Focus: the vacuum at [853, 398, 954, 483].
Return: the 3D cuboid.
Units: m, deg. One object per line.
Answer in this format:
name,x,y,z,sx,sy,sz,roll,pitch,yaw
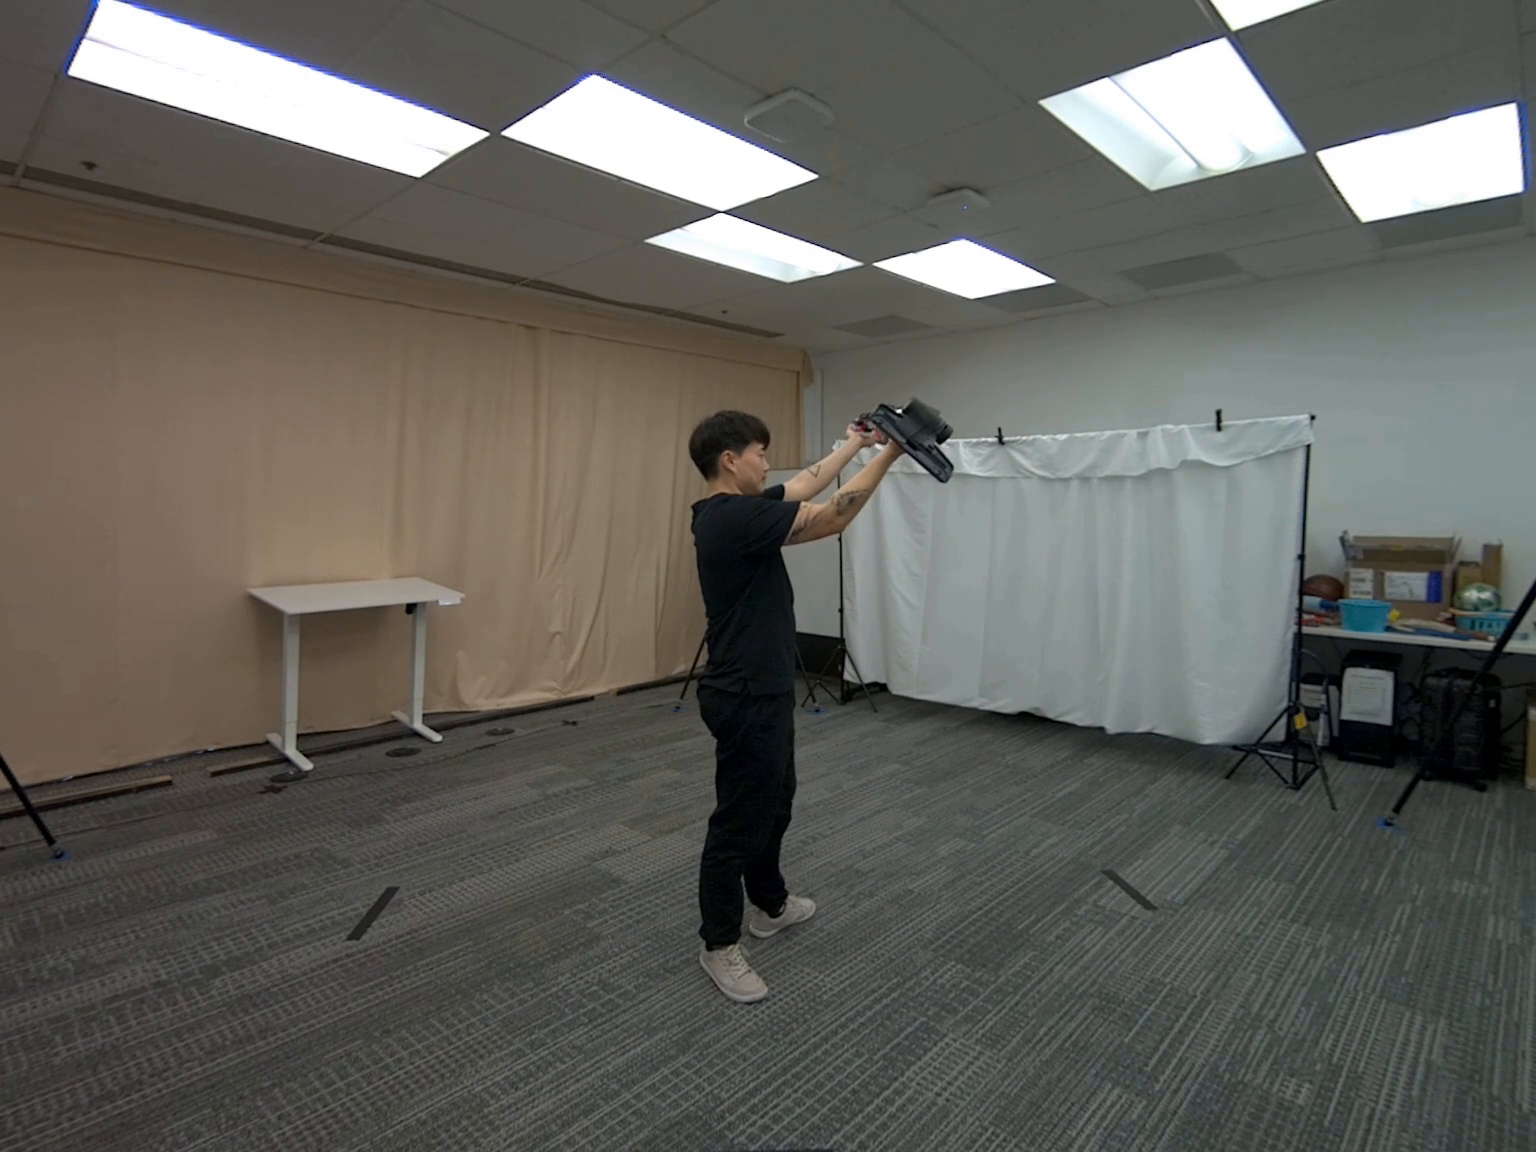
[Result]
vacuum,0.361,-0.465,2.602,0.250,0.144,1.056,42,9,-9
